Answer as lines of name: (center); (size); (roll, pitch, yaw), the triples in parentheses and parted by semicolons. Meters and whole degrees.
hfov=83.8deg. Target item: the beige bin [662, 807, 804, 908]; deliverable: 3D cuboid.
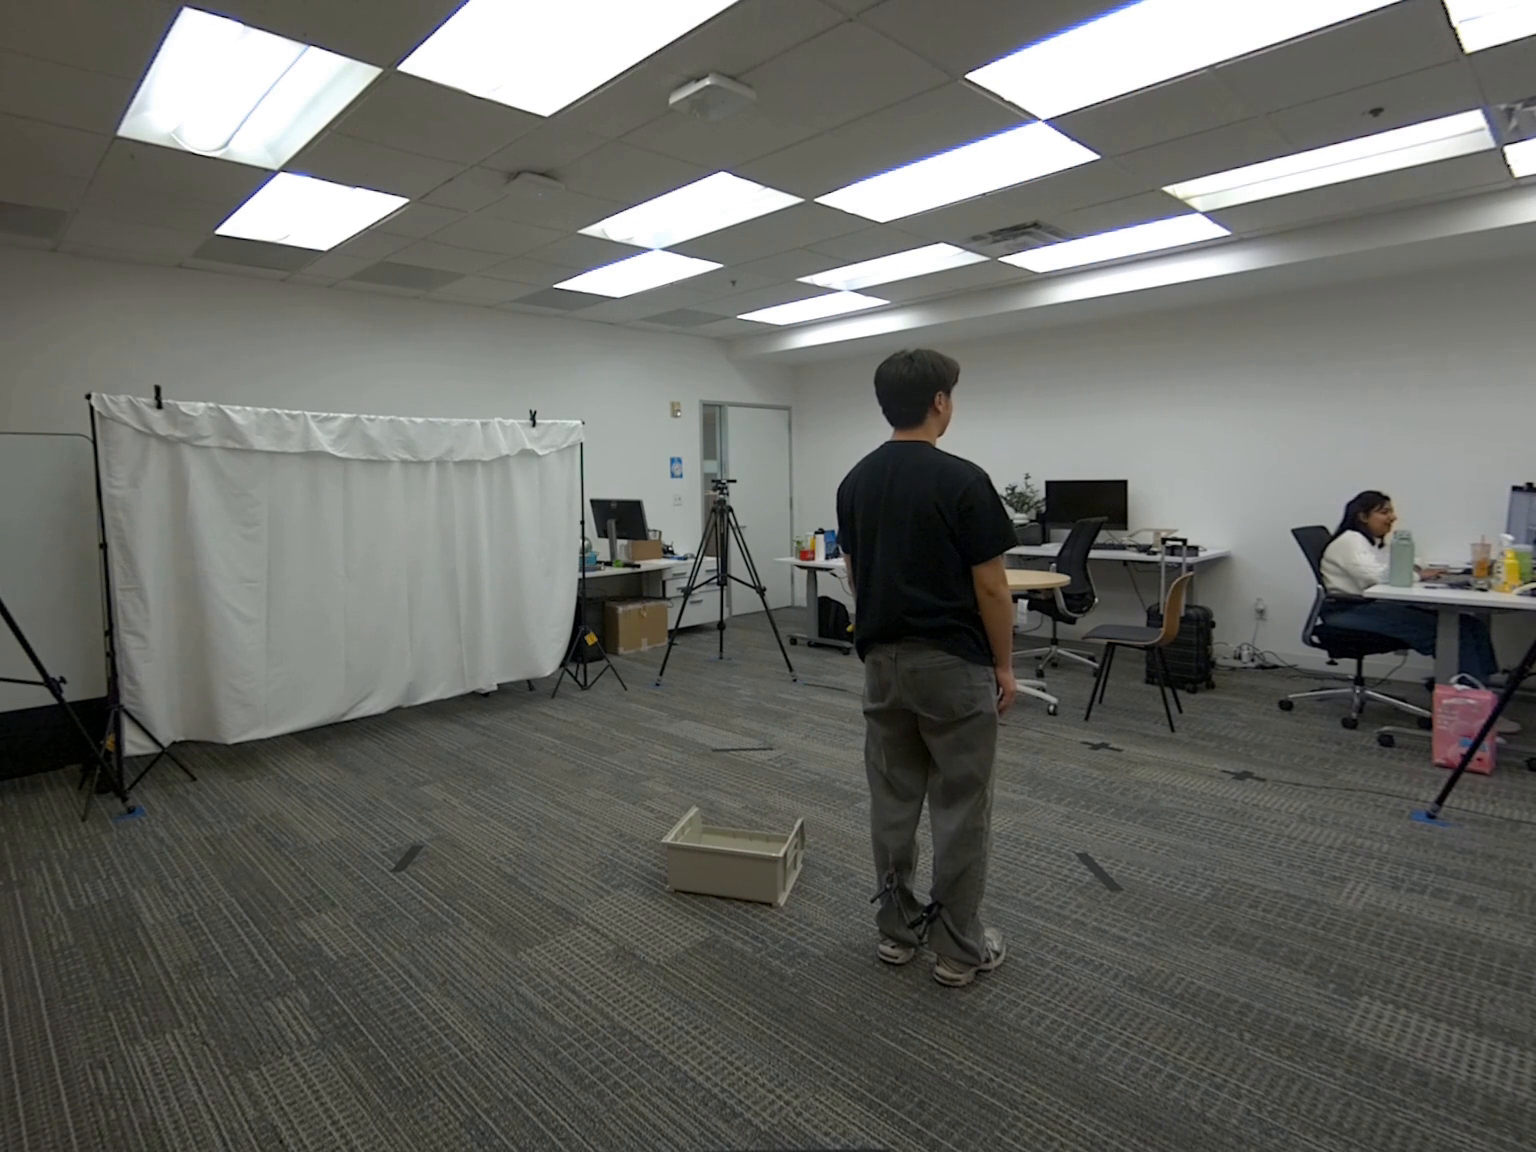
beige bin: (-0.111, 0.971, 3.010); (0.429, 0.188, 0.373); (1, 7, 16)
